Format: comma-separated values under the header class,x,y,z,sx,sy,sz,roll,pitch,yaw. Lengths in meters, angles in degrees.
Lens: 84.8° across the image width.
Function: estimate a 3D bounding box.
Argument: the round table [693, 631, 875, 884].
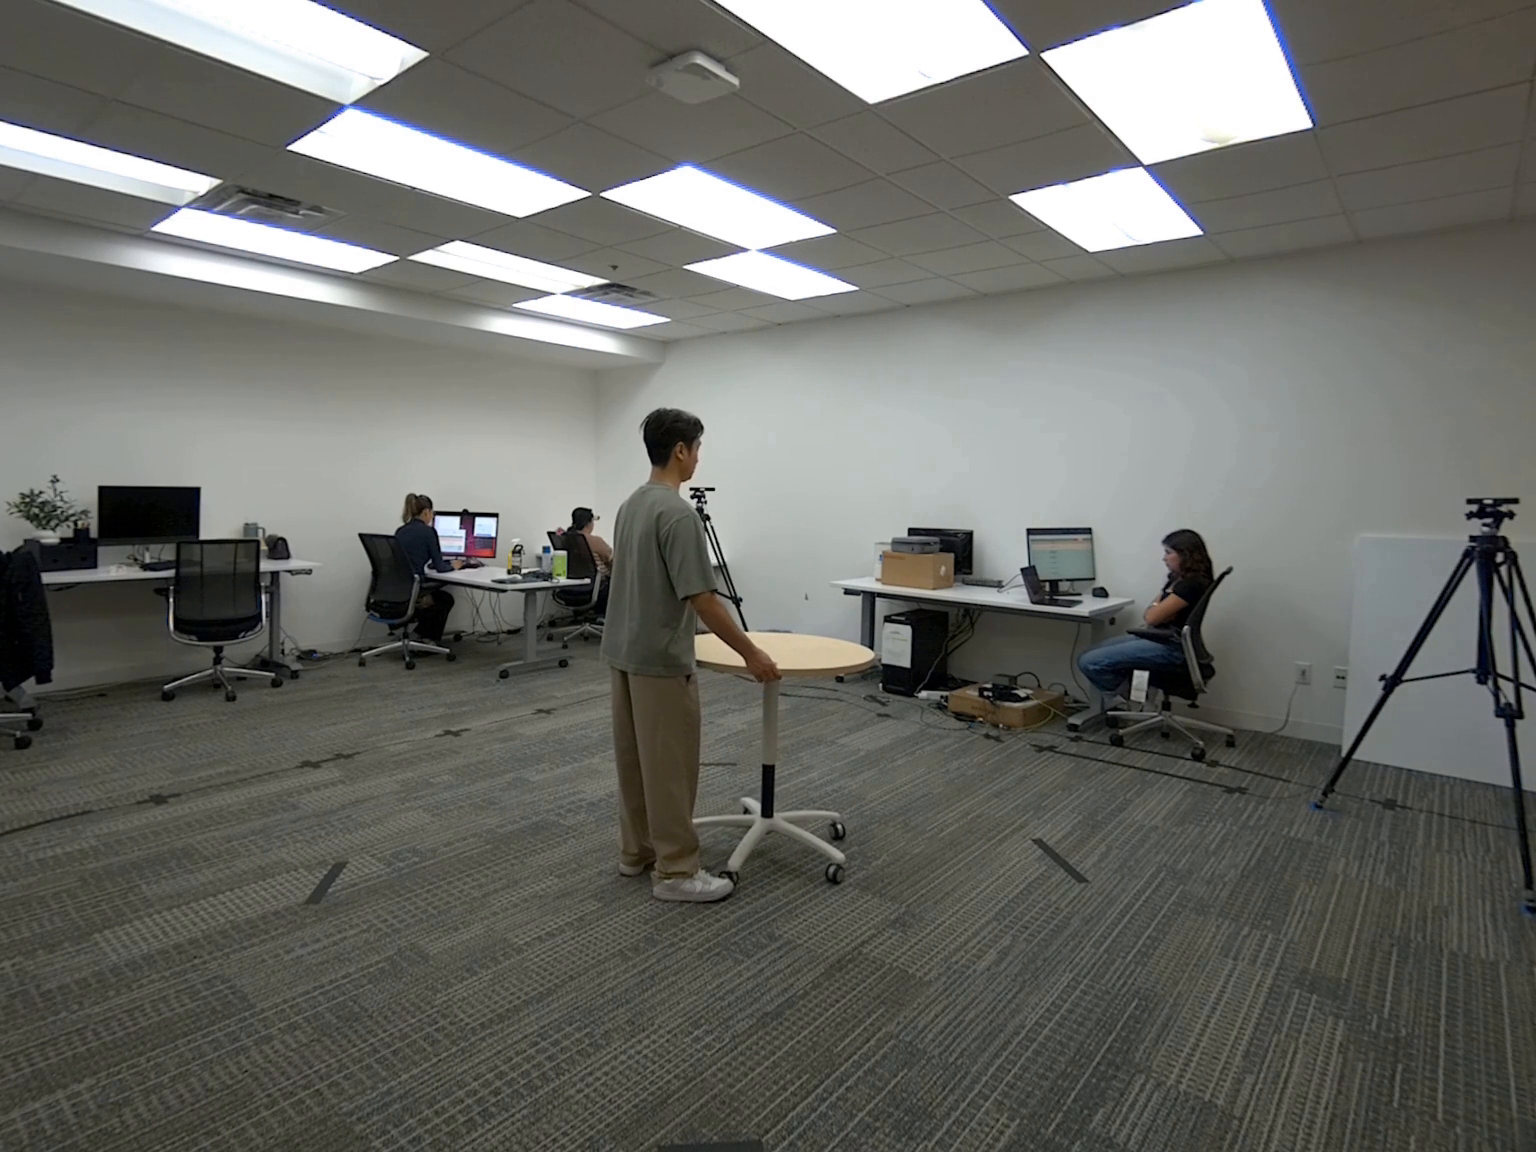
class,x,y,z,sx,sy,sz,roll,pitch,yaw
round table,-0.006,0.664,3.231,0.784,0.784,0.789,1,4,-2
